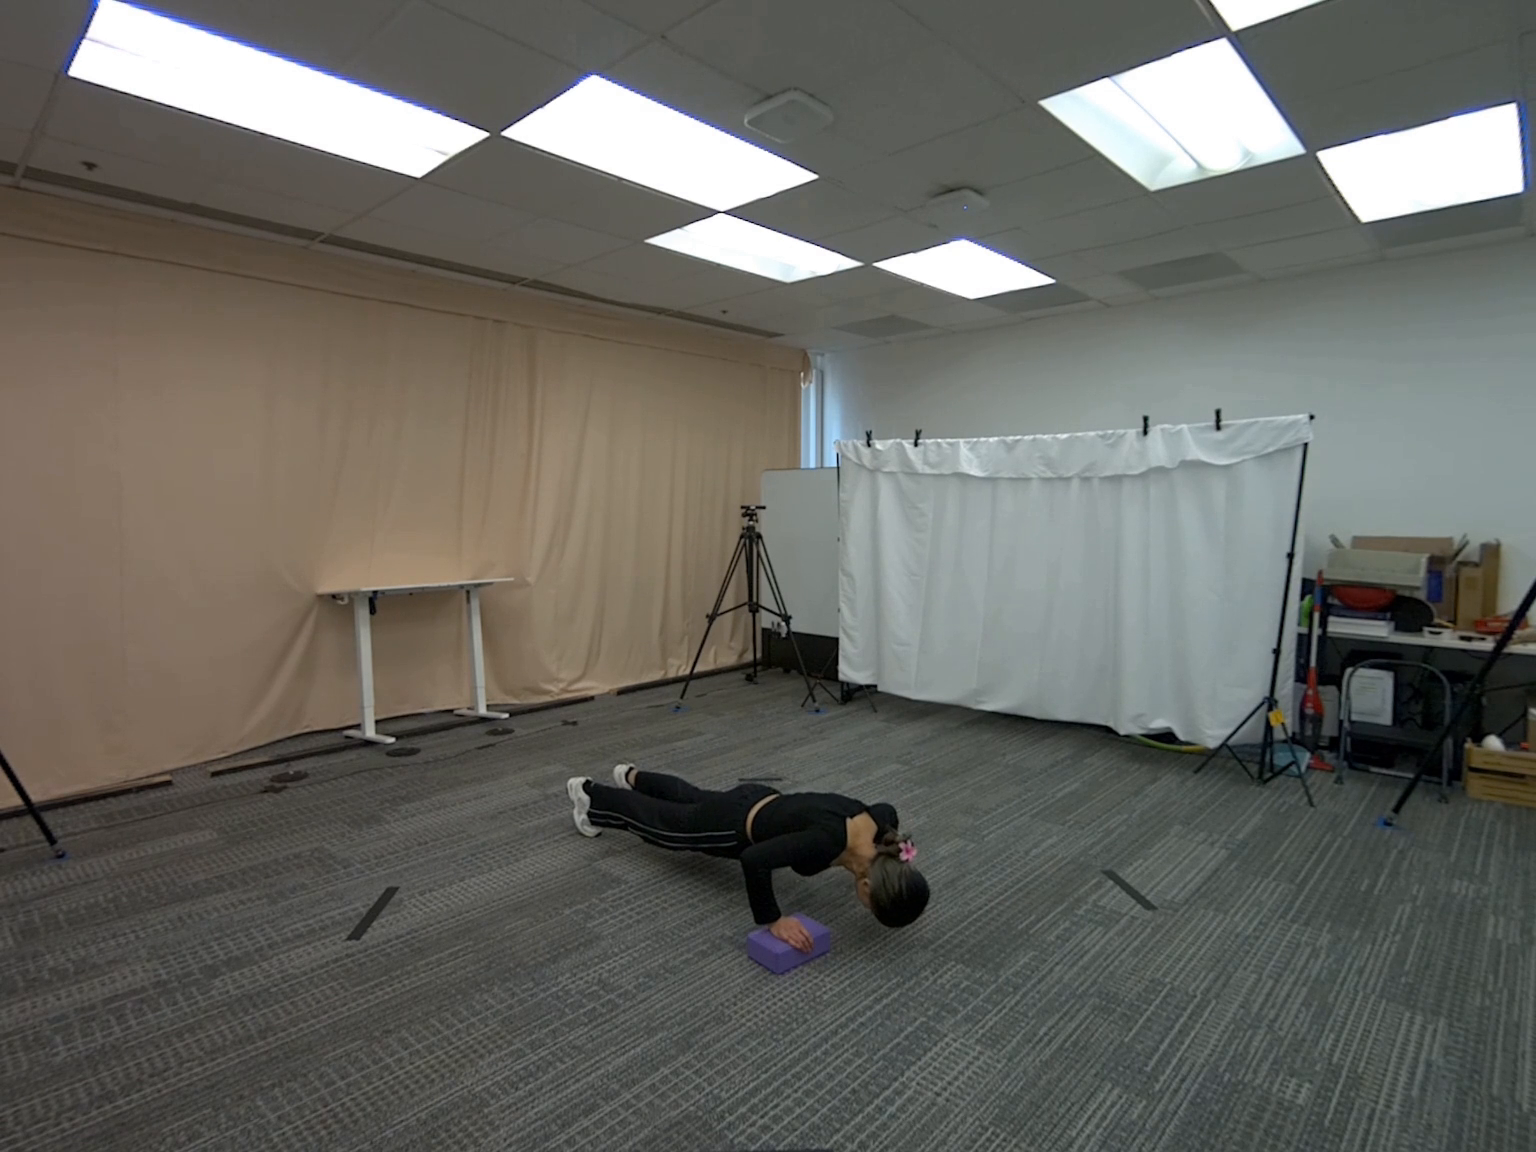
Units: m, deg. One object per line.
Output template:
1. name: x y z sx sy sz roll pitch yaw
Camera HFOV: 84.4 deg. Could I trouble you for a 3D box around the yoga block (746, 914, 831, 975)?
1. yoga block: 0.063 1.132 2.622 0.222 0.076 0.154 -6 8 -41
